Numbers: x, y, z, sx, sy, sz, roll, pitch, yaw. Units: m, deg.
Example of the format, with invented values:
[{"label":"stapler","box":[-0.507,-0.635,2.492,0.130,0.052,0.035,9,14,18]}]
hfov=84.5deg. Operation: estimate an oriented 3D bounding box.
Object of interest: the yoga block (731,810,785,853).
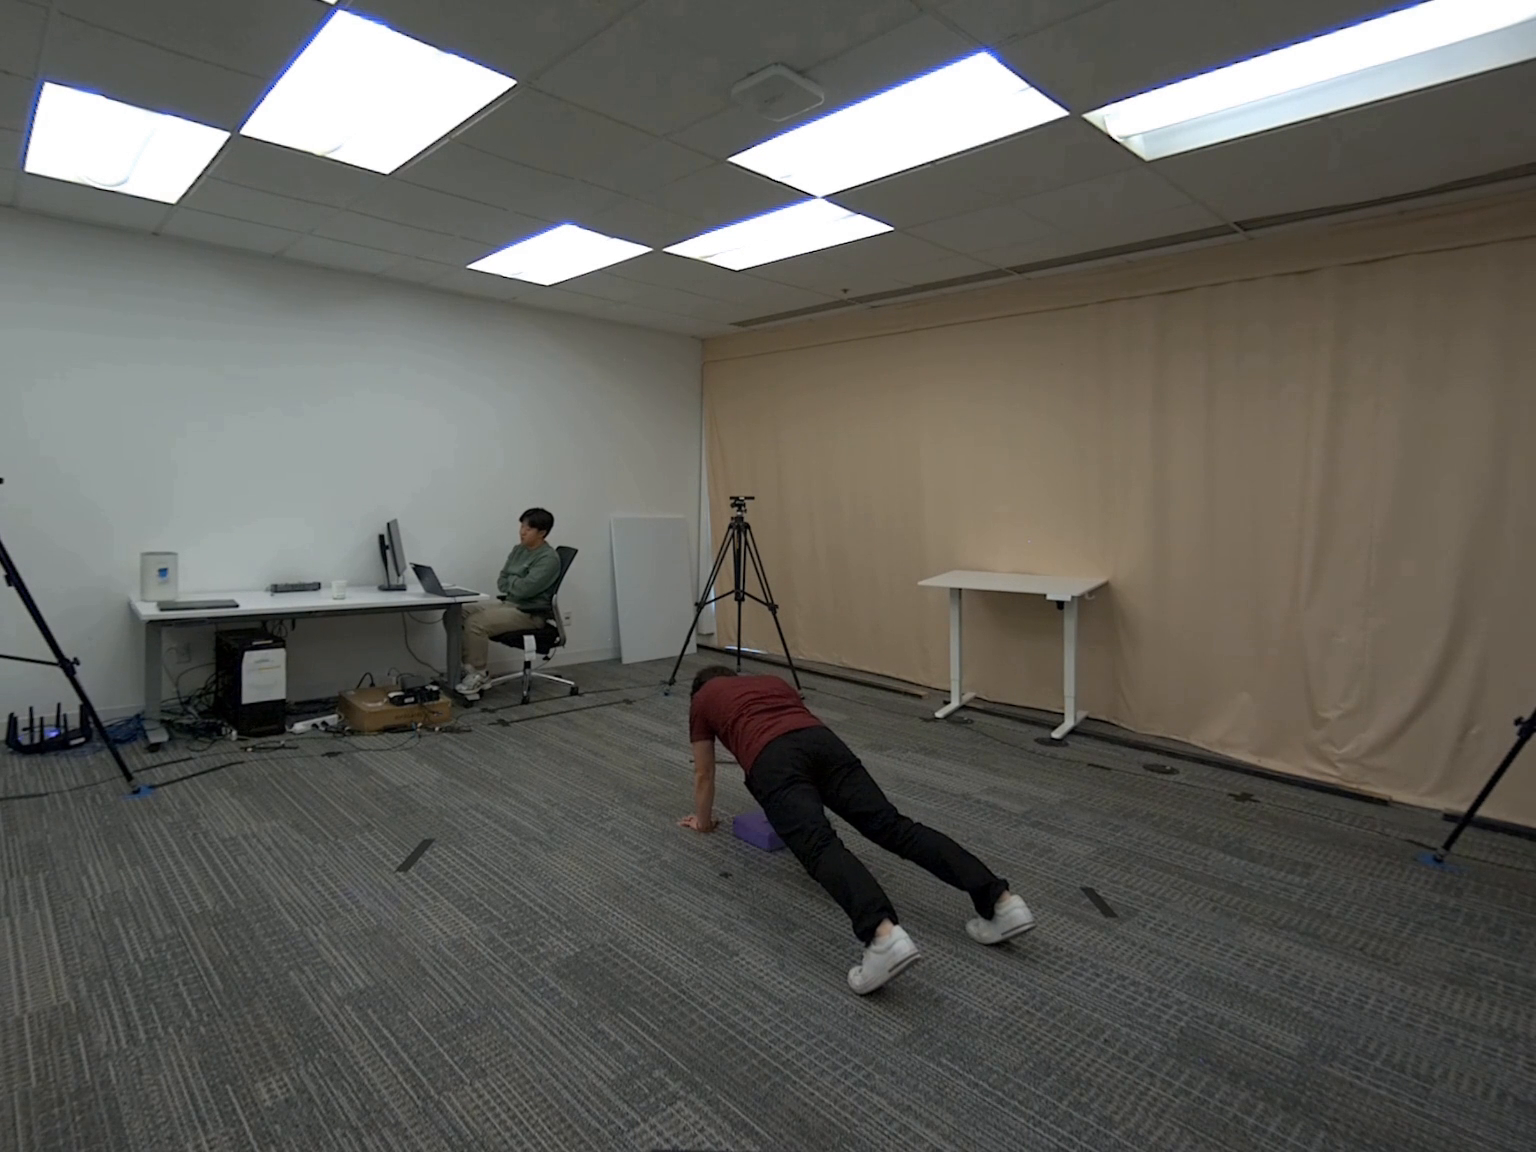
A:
[{"label":"yoga block","box":[-0.030,1.037,3.429,0.145,0.076,0.235,-3,6,-43]}]
